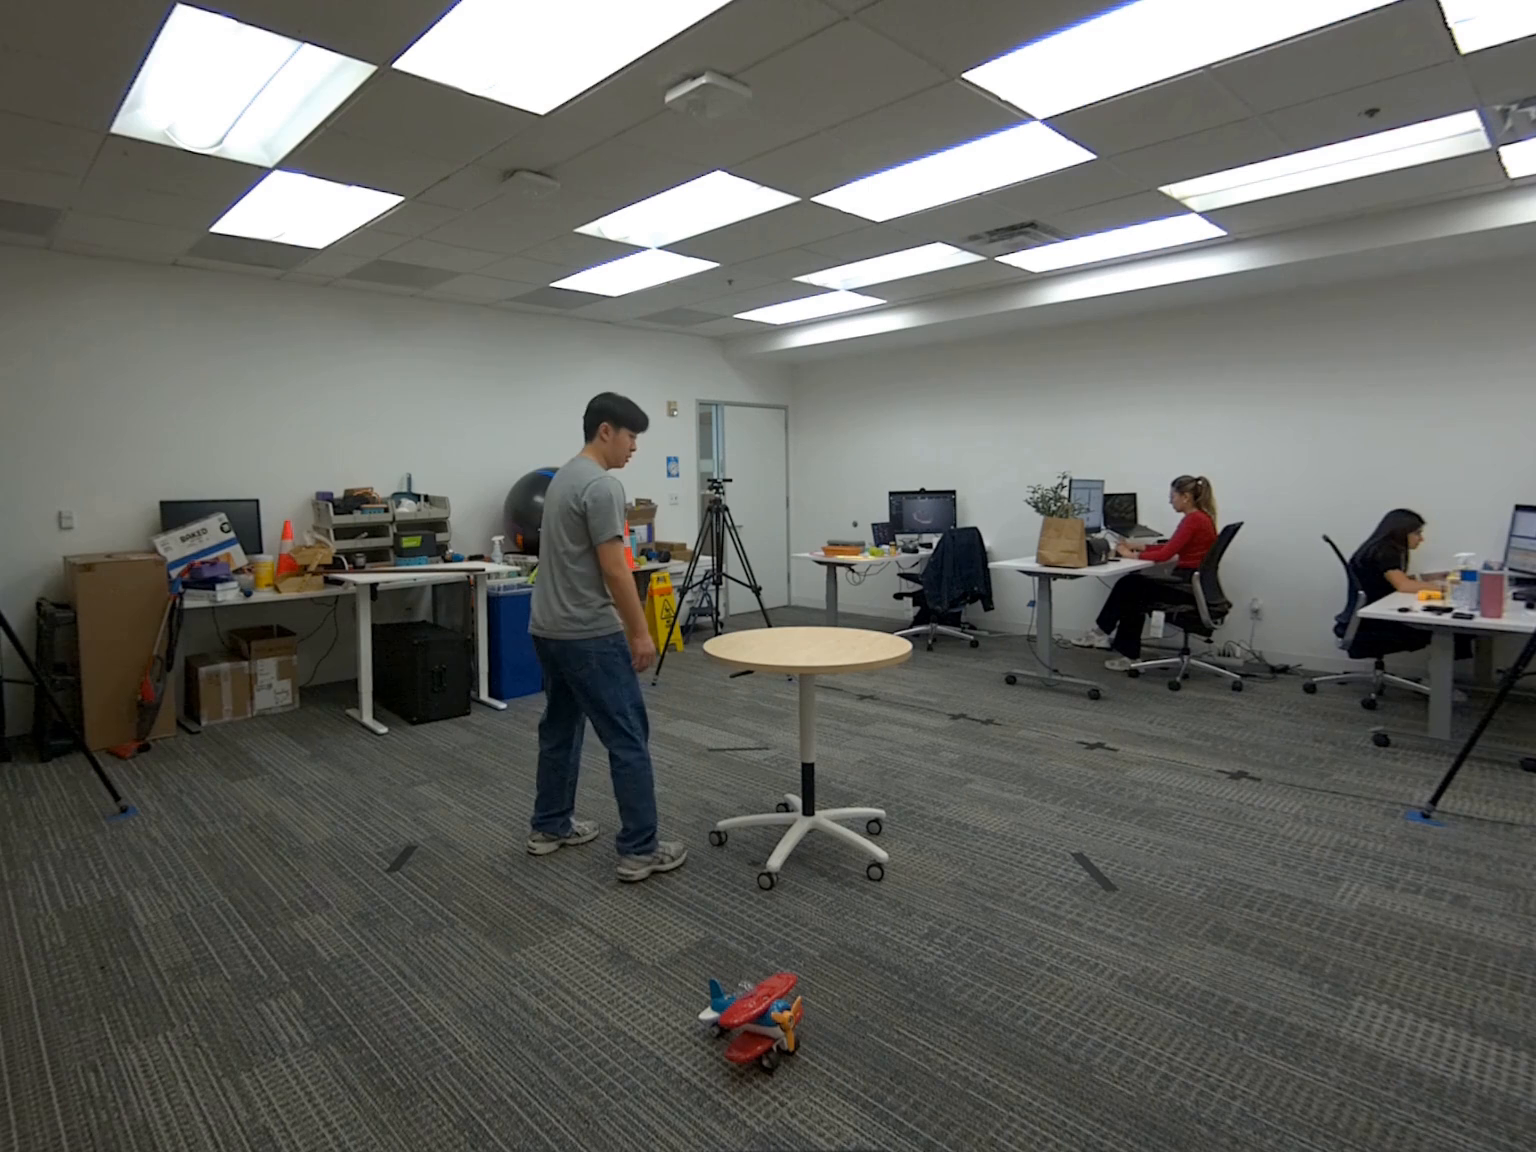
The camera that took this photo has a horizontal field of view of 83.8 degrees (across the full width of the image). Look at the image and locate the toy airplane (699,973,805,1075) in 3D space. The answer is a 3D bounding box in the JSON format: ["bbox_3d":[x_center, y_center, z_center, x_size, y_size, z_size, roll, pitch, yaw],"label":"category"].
[{"bbox_3d":[-0.040,1.092,2.084,0.262,0.156,0.249,1,6,11],"label":"toy airplane"}]
